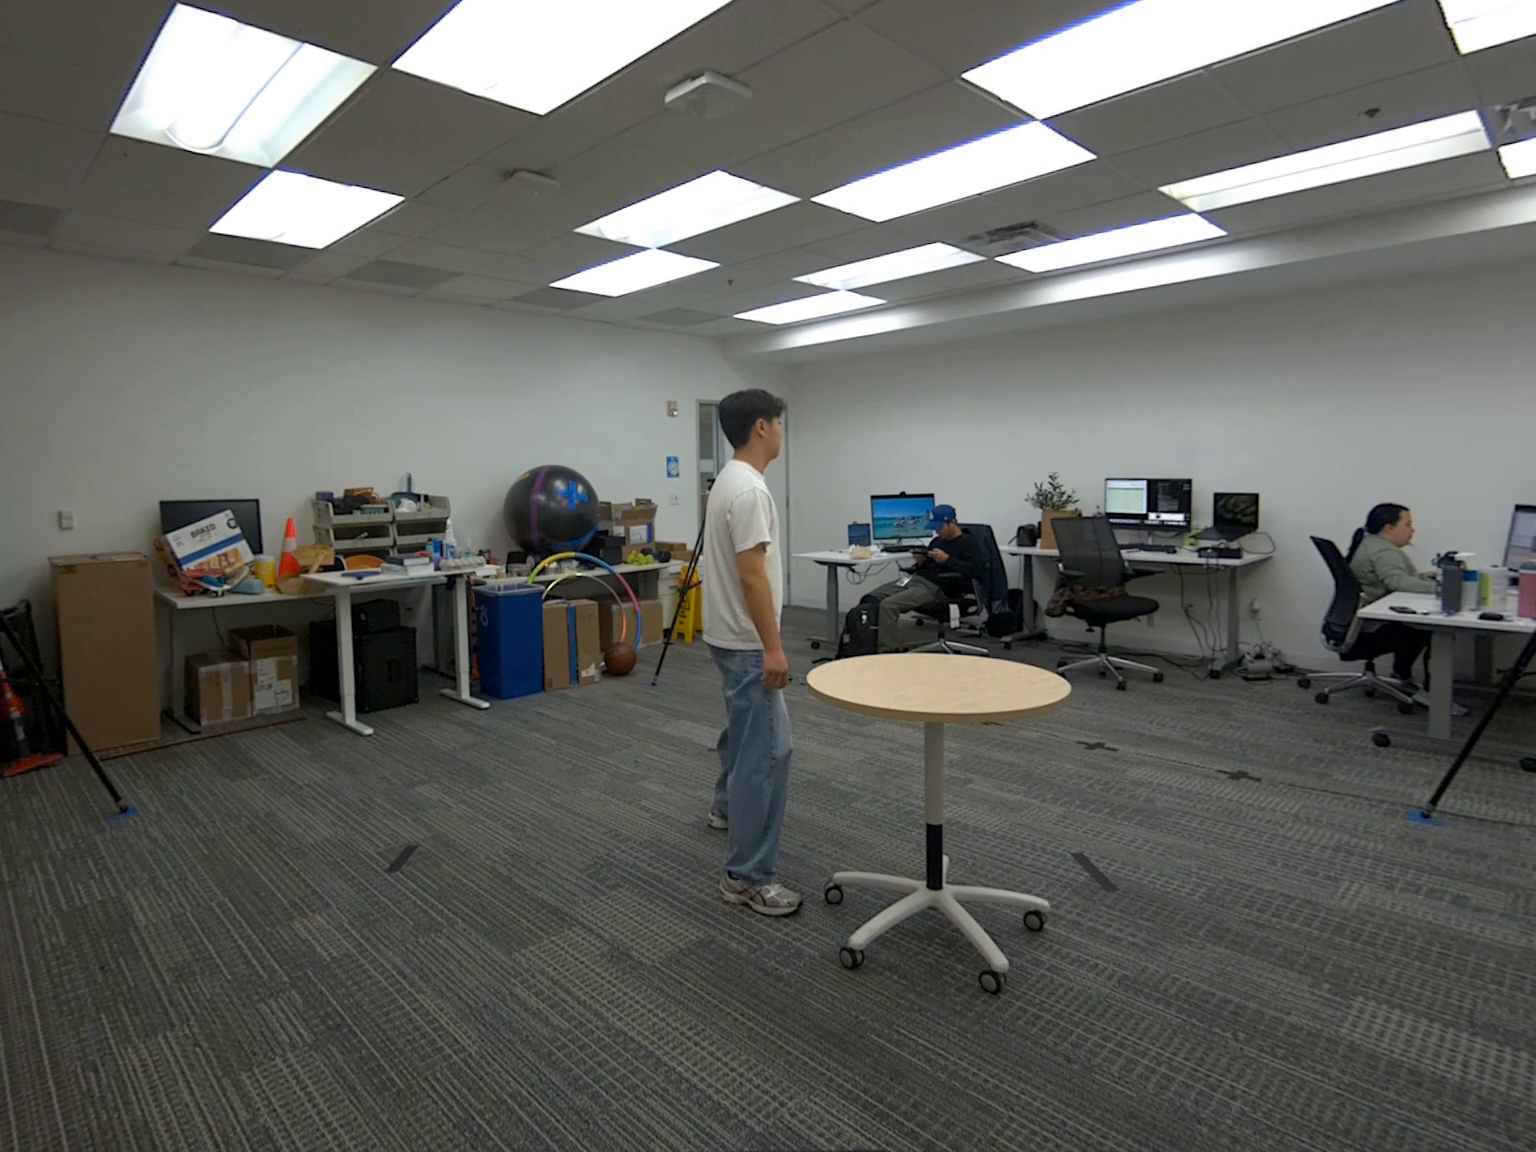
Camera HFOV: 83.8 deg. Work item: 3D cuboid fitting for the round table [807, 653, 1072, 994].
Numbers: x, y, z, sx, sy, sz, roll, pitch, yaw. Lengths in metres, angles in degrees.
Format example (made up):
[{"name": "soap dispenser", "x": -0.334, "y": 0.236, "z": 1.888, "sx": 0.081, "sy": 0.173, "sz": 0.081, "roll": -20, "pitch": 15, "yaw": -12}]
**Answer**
[{"name": "round table", "x": 0.507, "y": 0.704, "z": 2.602, "sx": 0.763, "sy": 0.791, "sz": 0.768, "roll": -1, "pitch": 5, "yaw": -2}]
